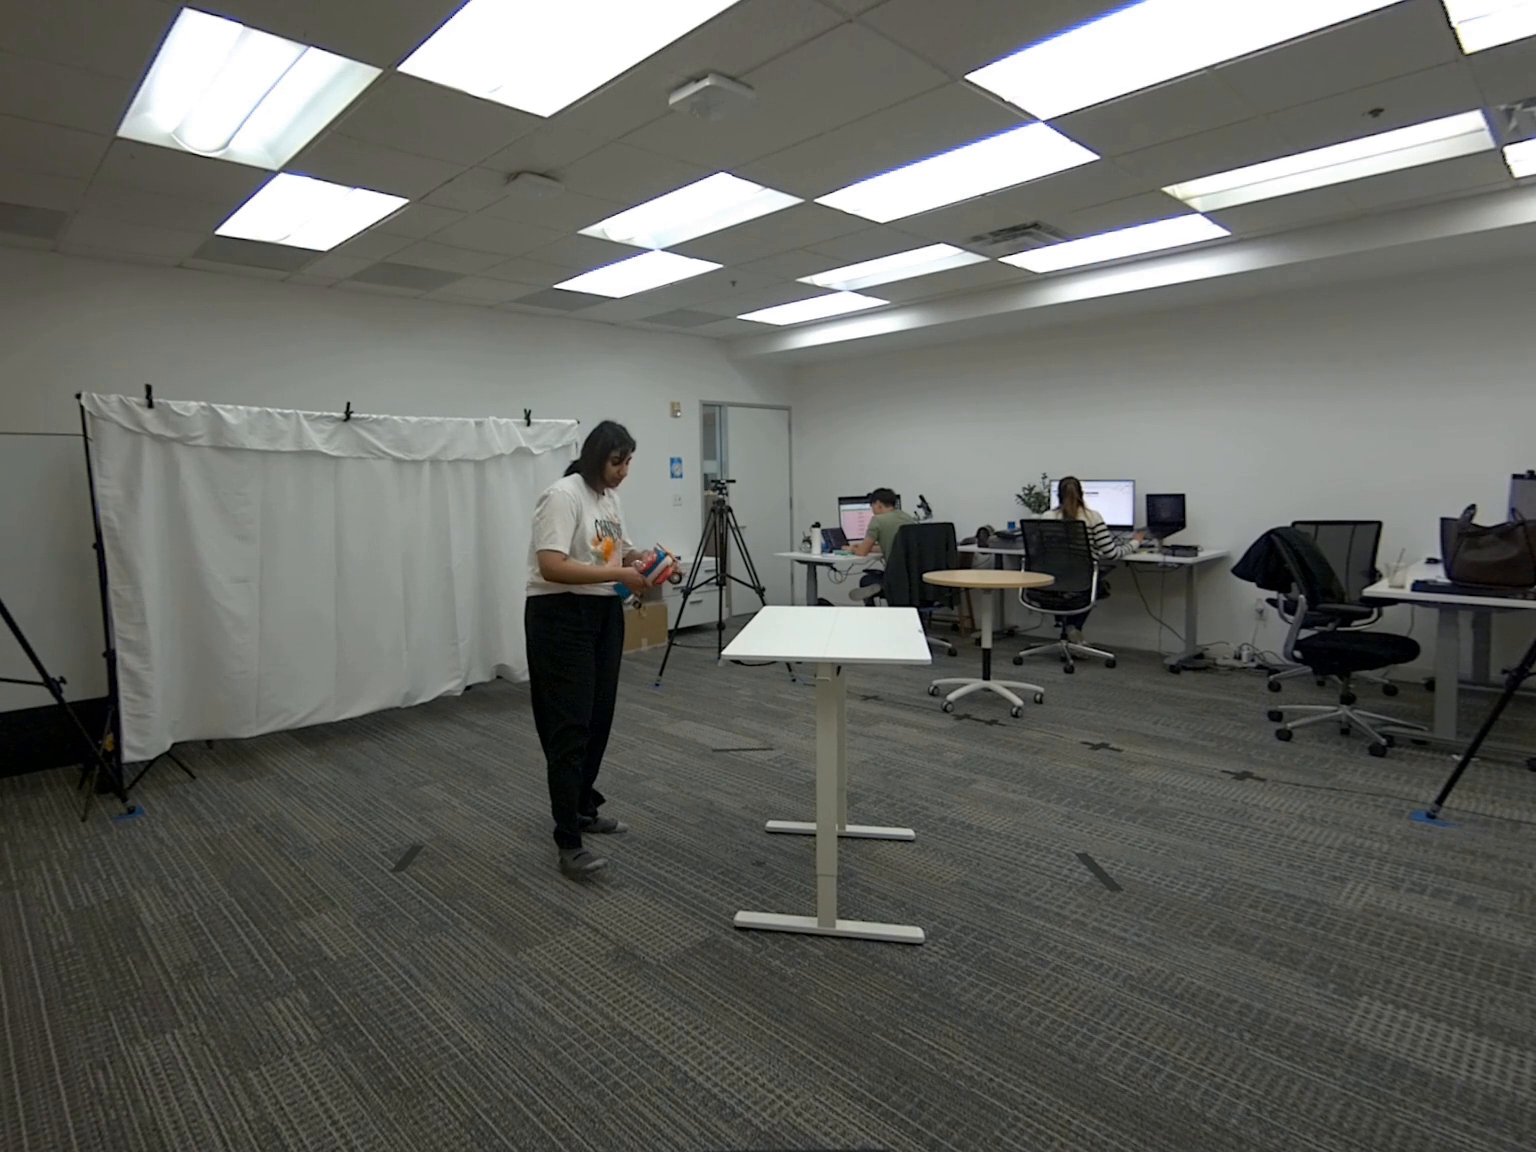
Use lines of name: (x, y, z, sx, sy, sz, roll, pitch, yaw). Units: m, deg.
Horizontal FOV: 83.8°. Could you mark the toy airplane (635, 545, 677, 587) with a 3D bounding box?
toy airplane: (-0.455, 0.007, 3.248, 0.258, 0.154, 0.256, -41, 17, -35)
